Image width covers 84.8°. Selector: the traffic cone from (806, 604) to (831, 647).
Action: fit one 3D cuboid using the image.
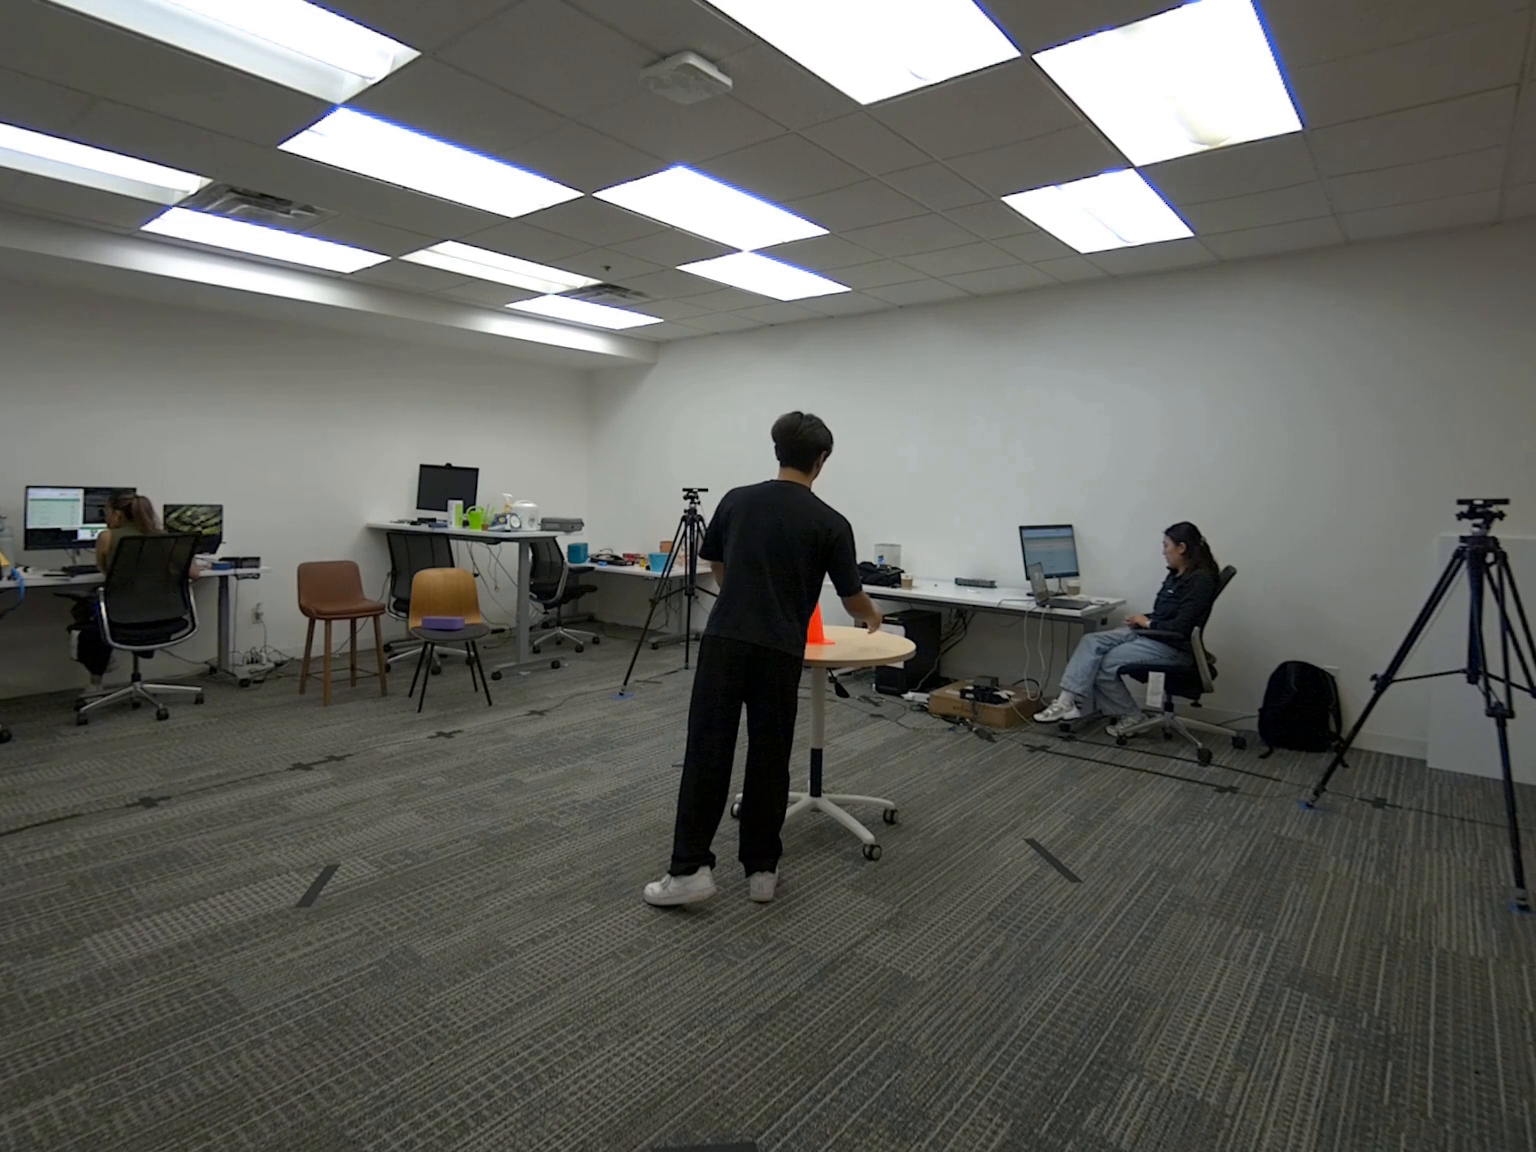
[{"bbox_3d":[0.149,0.075,3.466,0.200,0.382,0.209,-1,4,-16],"label":"traffic cone"}]
